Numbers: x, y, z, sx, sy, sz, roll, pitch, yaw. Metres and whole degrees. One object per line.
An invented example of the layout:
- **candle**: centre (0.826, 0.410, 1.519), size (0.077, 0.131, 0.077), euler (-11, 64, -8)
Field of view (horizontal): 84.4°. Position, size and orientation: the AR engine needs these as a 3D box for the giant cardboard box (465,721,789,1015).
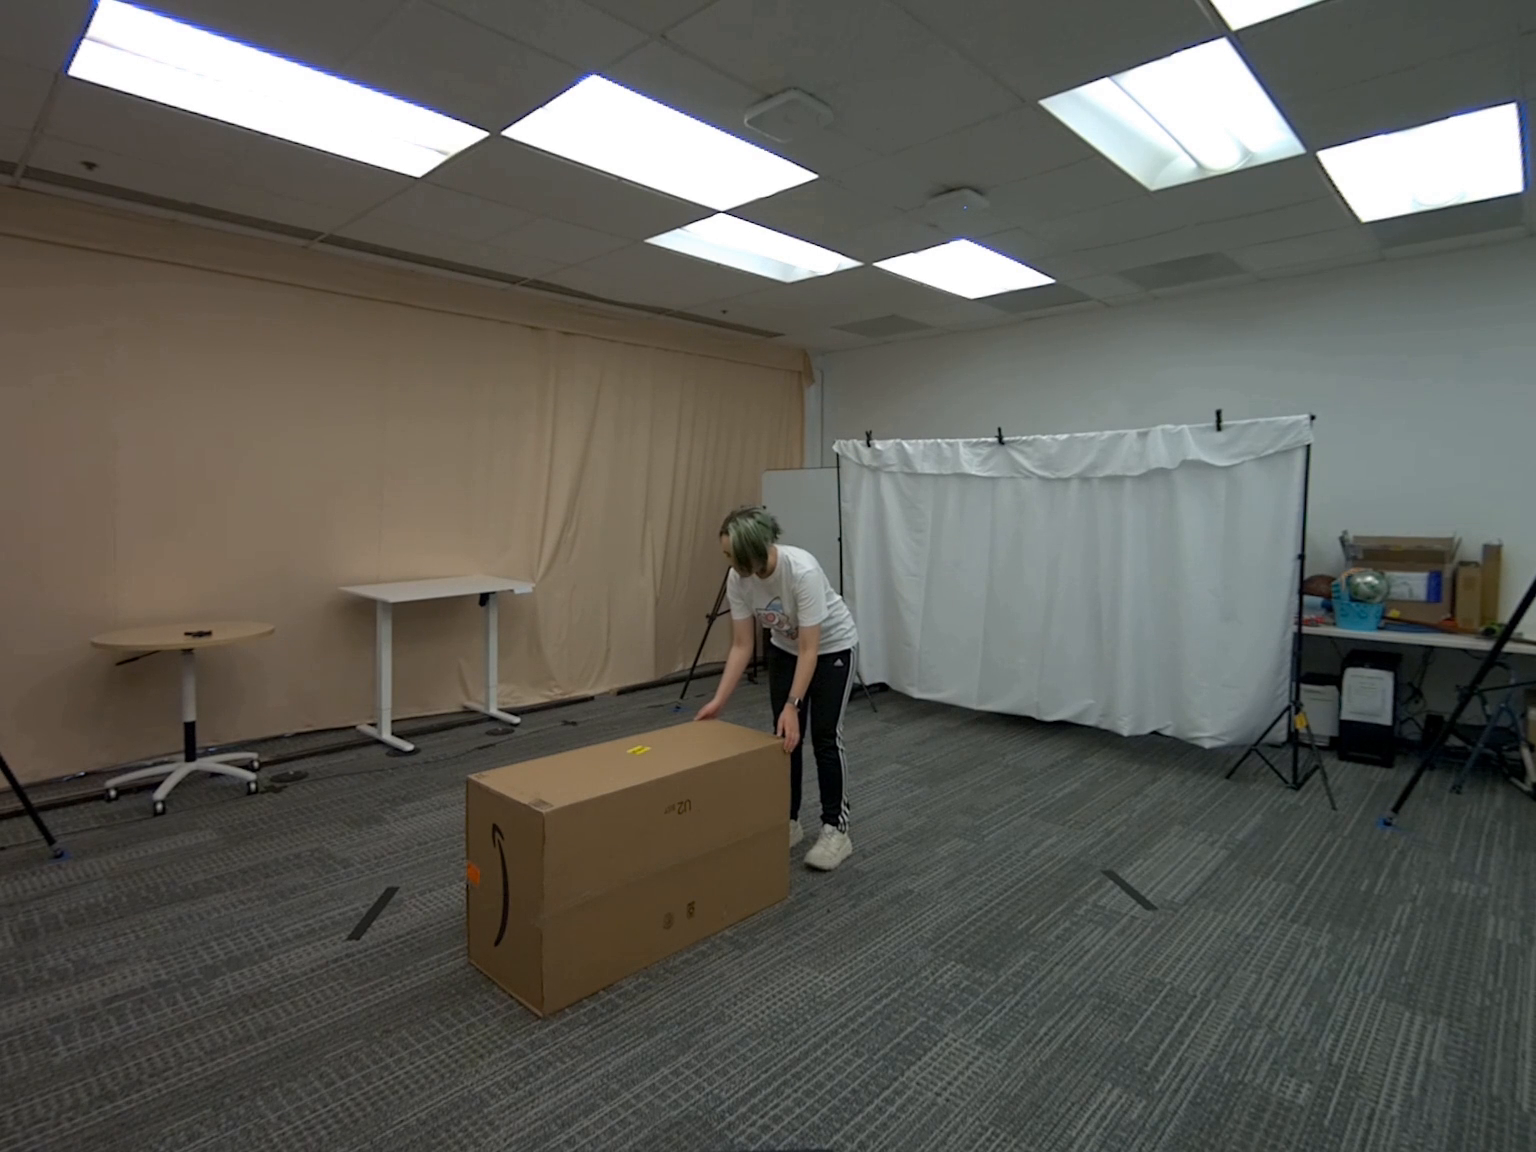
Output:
- **giant cardboard box**: centre (-0.423, 0.876, 2.772), size (0.461, 0.583, 0.995), euler (2, 4, 44)
